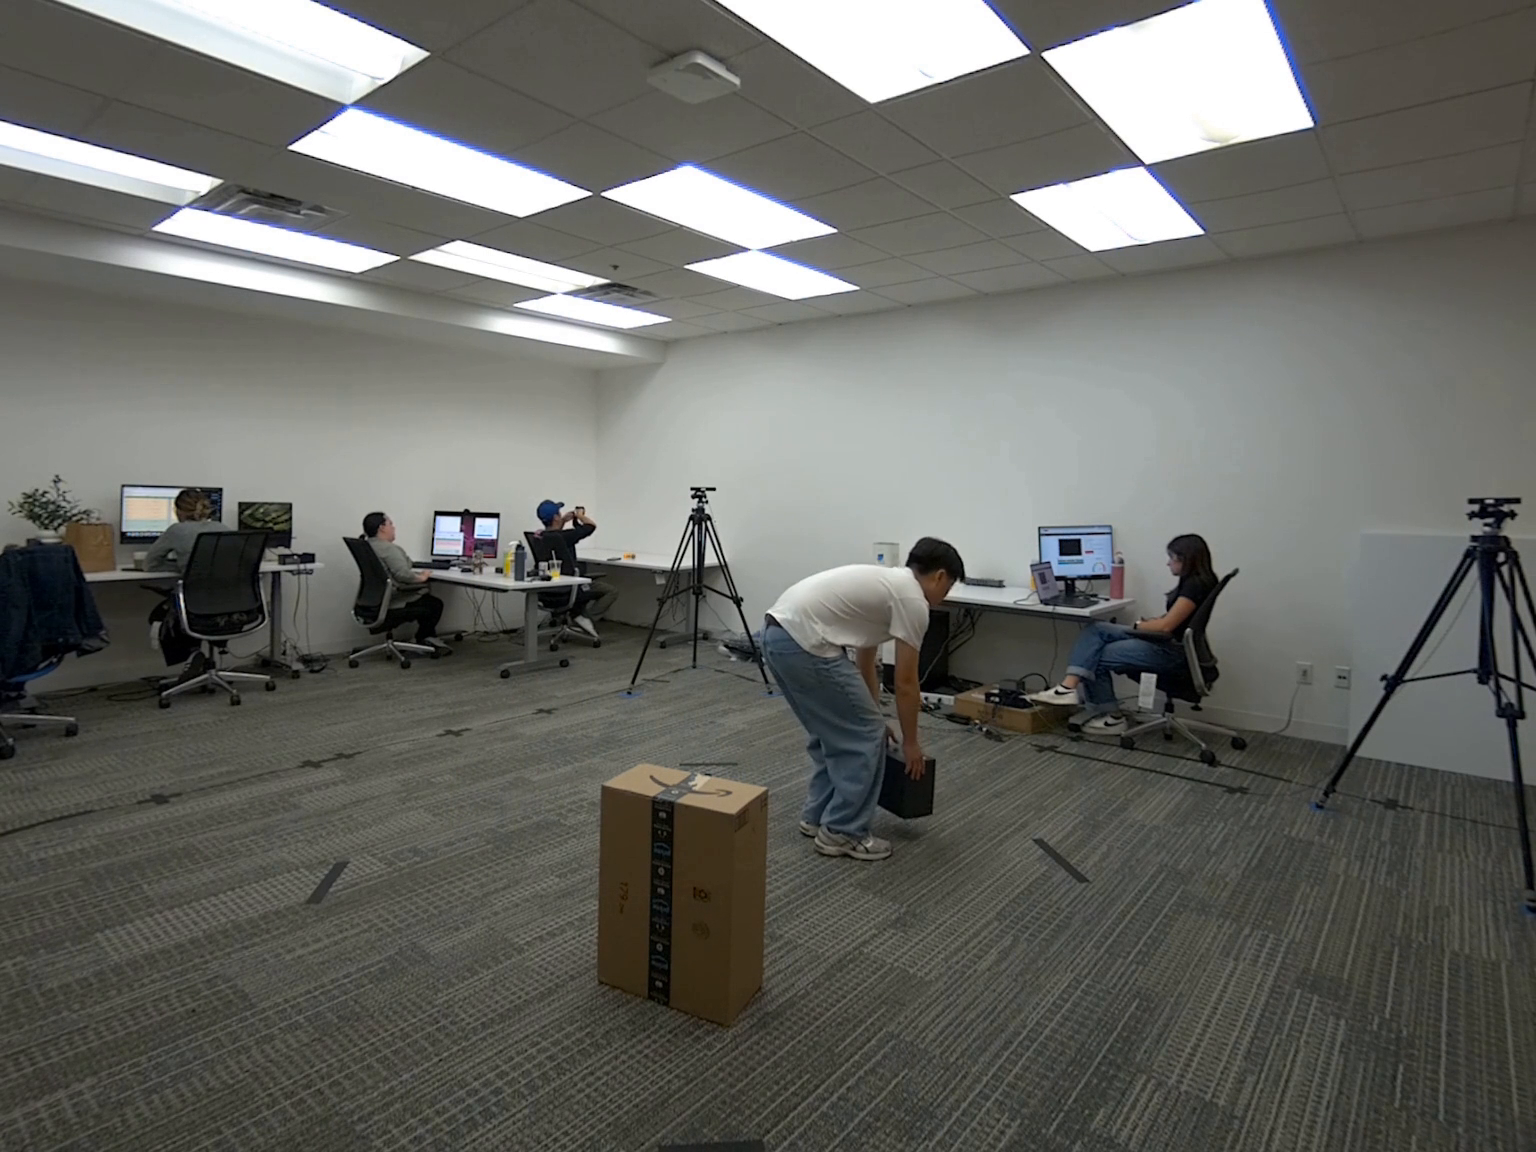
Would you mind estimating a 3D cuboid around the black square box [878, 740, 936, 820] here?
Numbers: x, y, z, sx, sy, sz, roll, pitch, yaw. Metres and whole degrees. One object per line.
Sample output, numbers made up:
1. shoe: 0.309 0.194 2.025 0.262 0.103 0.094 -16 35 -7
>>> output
1. black square box: 0.546 0.824 3.483 0.152 0.227 0.224 1 6 -30
